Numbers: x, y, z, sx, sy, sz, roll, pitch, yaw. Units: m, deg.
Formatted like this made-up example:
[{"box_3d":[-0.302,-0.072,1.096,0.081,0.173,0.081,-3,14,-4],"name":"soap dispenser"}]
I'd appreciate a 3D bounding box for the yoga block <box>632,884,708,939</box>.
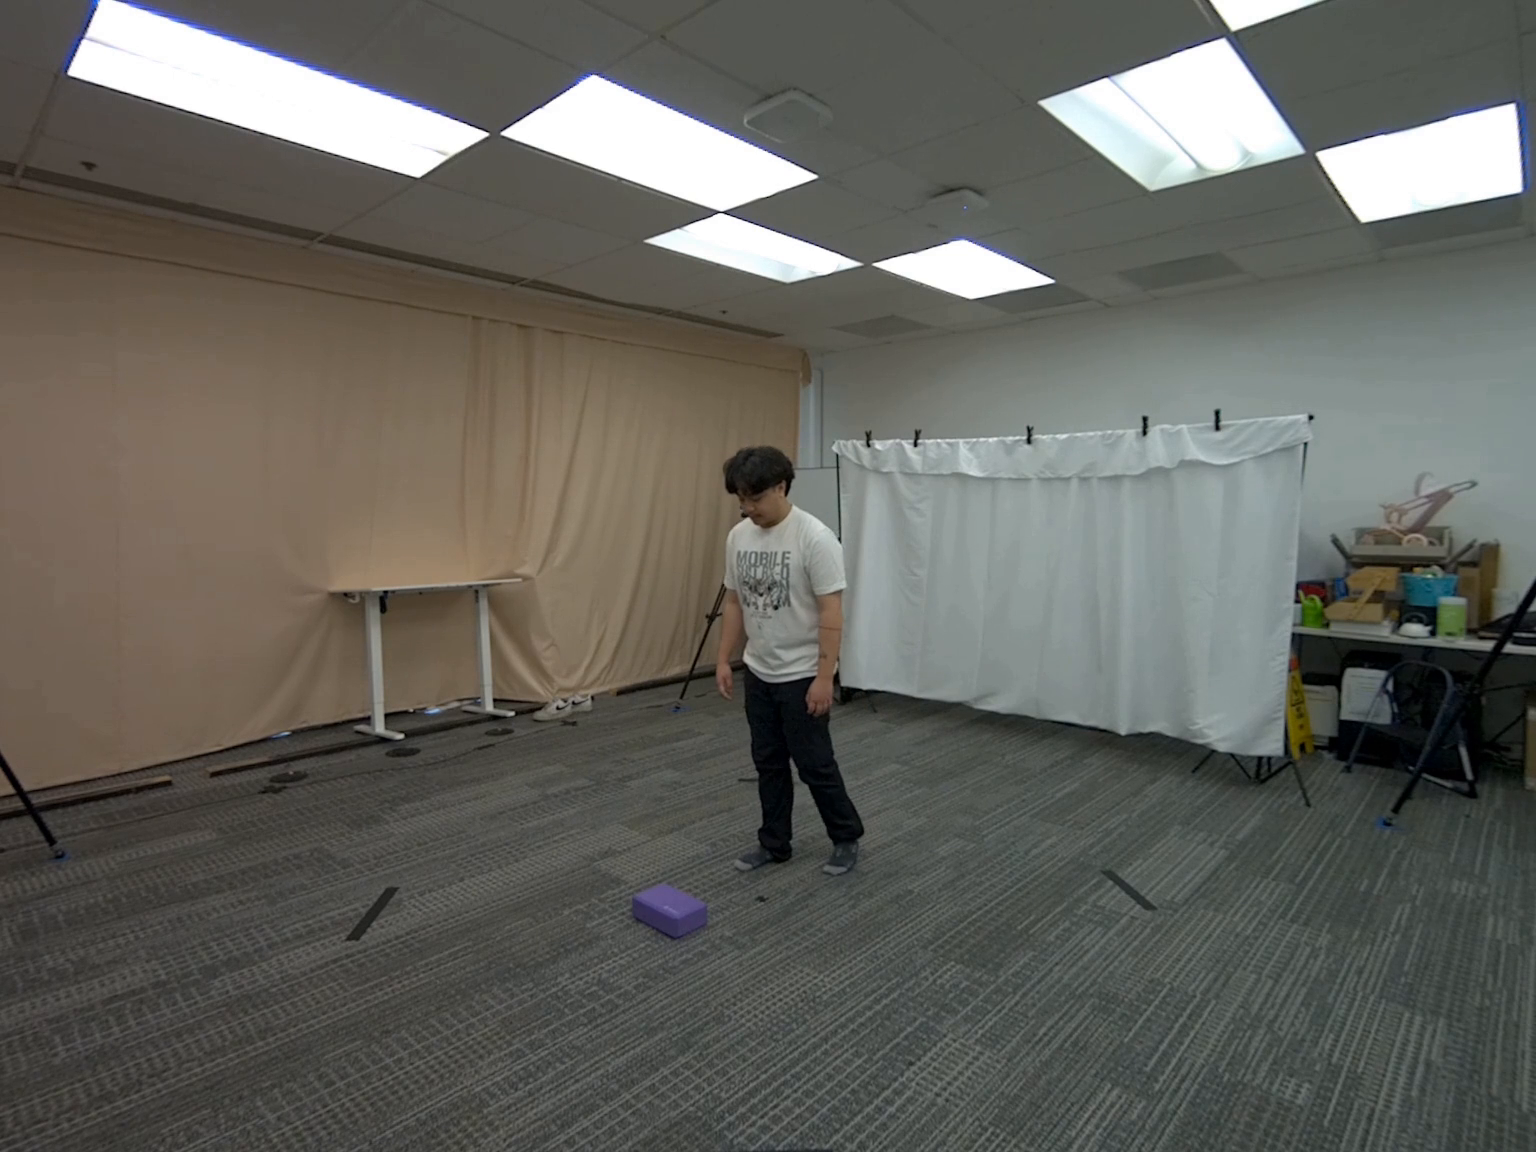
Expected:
[{"box_3d":[-0.330,1.121,2.825,0.237,0.076,0.144,4,6,42],"name":"yoga block"}]
